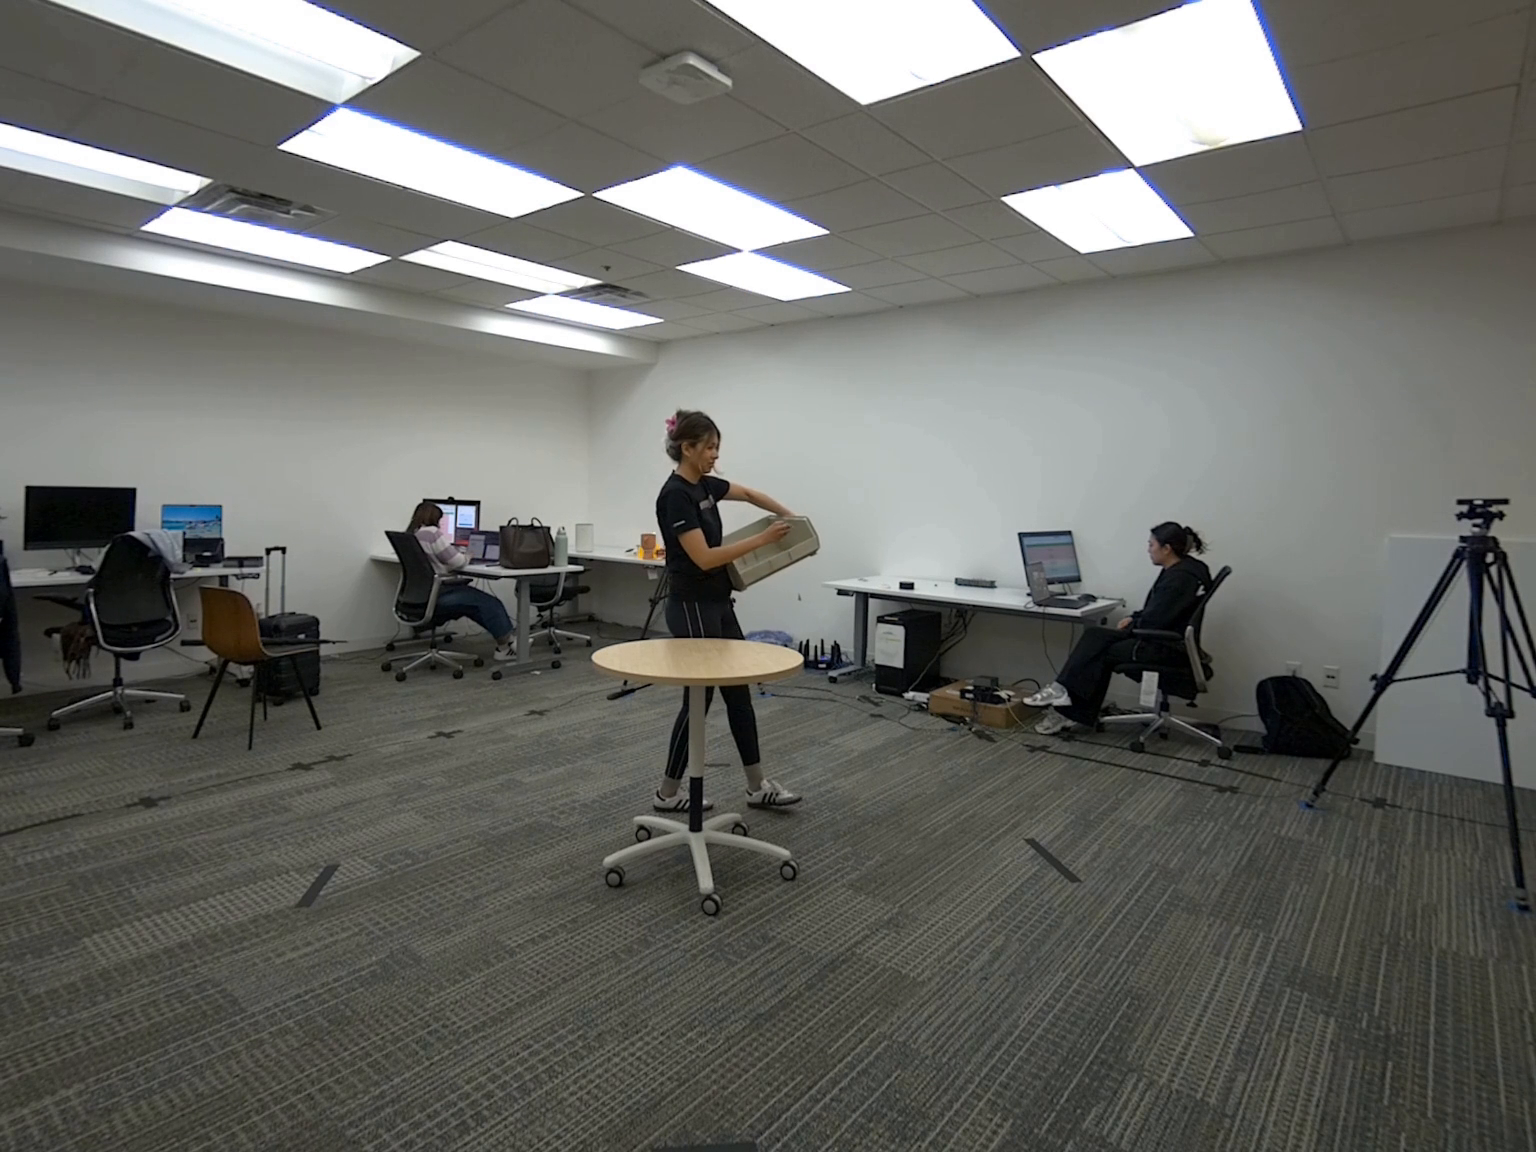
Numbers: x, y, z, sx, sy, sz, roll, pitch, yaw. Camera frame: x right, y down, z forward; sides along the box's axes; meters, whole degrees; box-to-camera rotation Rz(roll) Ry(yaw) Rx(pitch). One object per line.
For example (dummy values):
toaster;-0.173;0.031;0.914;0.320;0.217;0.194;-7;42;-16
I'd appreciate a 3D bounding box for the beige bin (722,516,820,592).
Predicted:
beige bin;-0.049;-0.111;3.791;0.417;0.186;0.388;-27;15;-23
